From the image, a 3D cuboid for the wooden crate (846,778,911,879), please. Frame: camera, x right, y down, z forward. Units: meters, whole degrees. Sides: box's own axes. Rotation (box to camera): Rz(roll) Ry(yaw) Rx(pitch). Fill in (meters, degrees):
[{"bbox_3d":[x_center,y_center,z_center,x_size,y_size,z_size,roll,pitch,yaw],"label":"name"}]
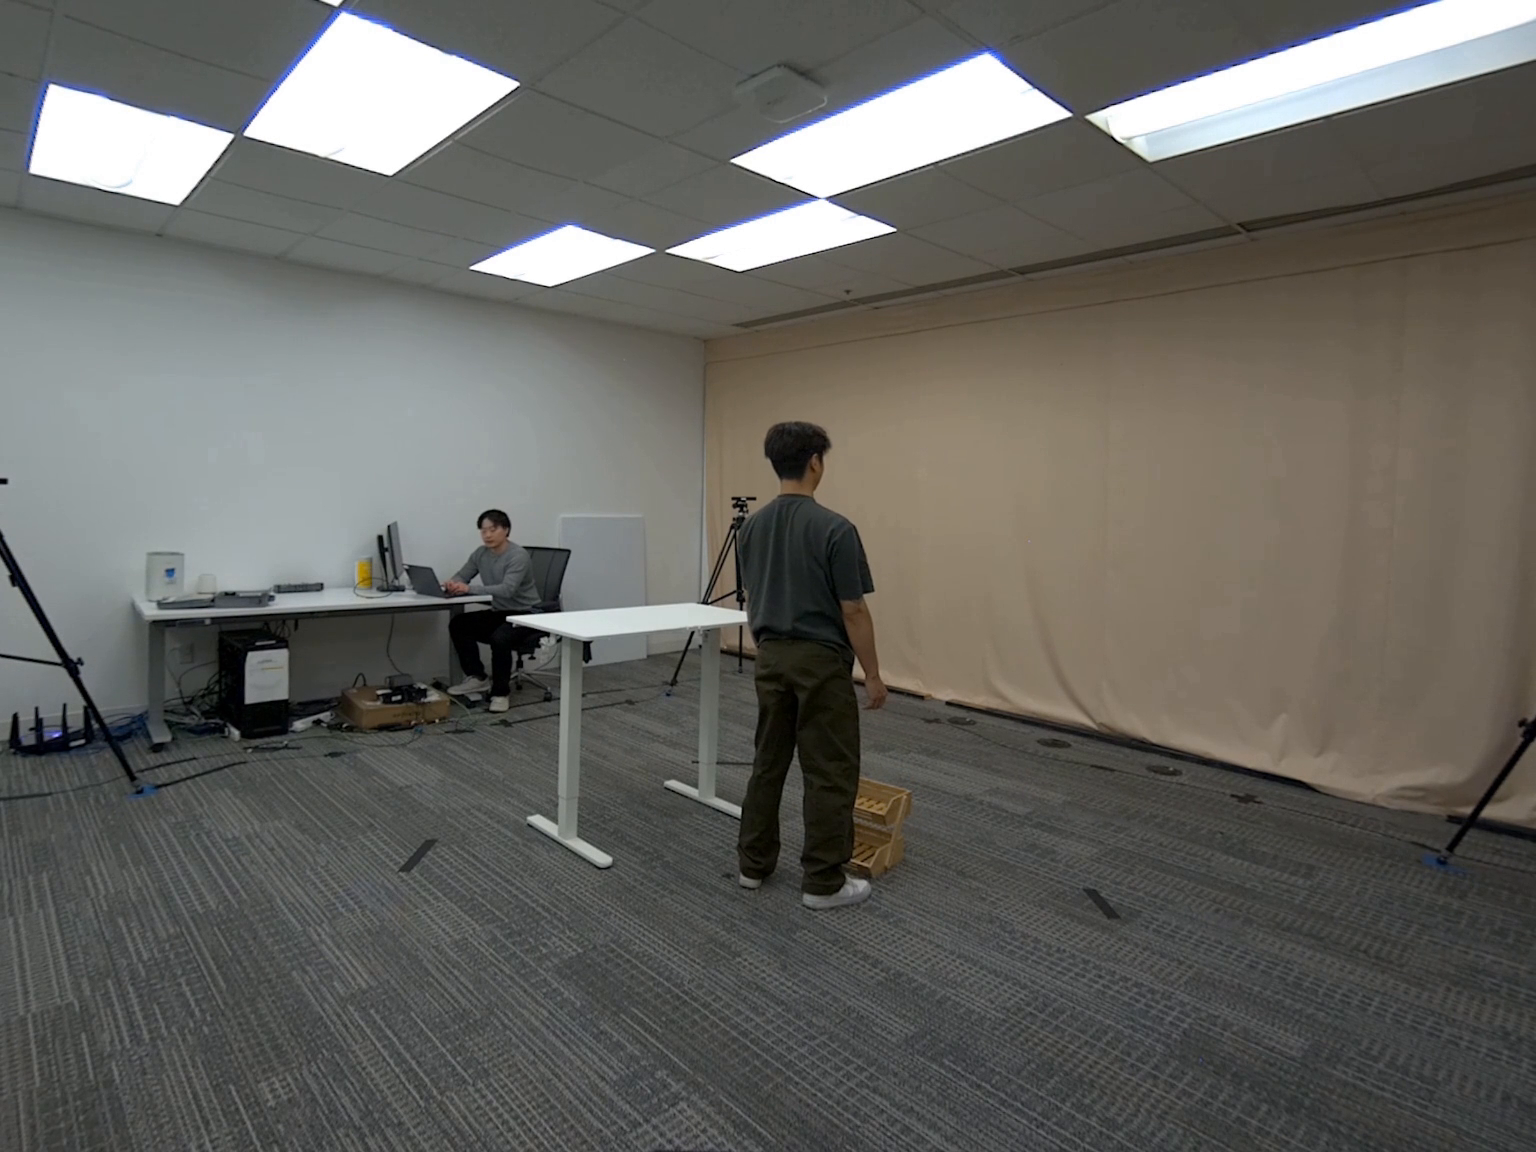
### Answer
[{"bbox_3d":[0.337,0.961,3.296,0.332,0.273,0.295,5,4,38],"label":"wooden crate"}]
